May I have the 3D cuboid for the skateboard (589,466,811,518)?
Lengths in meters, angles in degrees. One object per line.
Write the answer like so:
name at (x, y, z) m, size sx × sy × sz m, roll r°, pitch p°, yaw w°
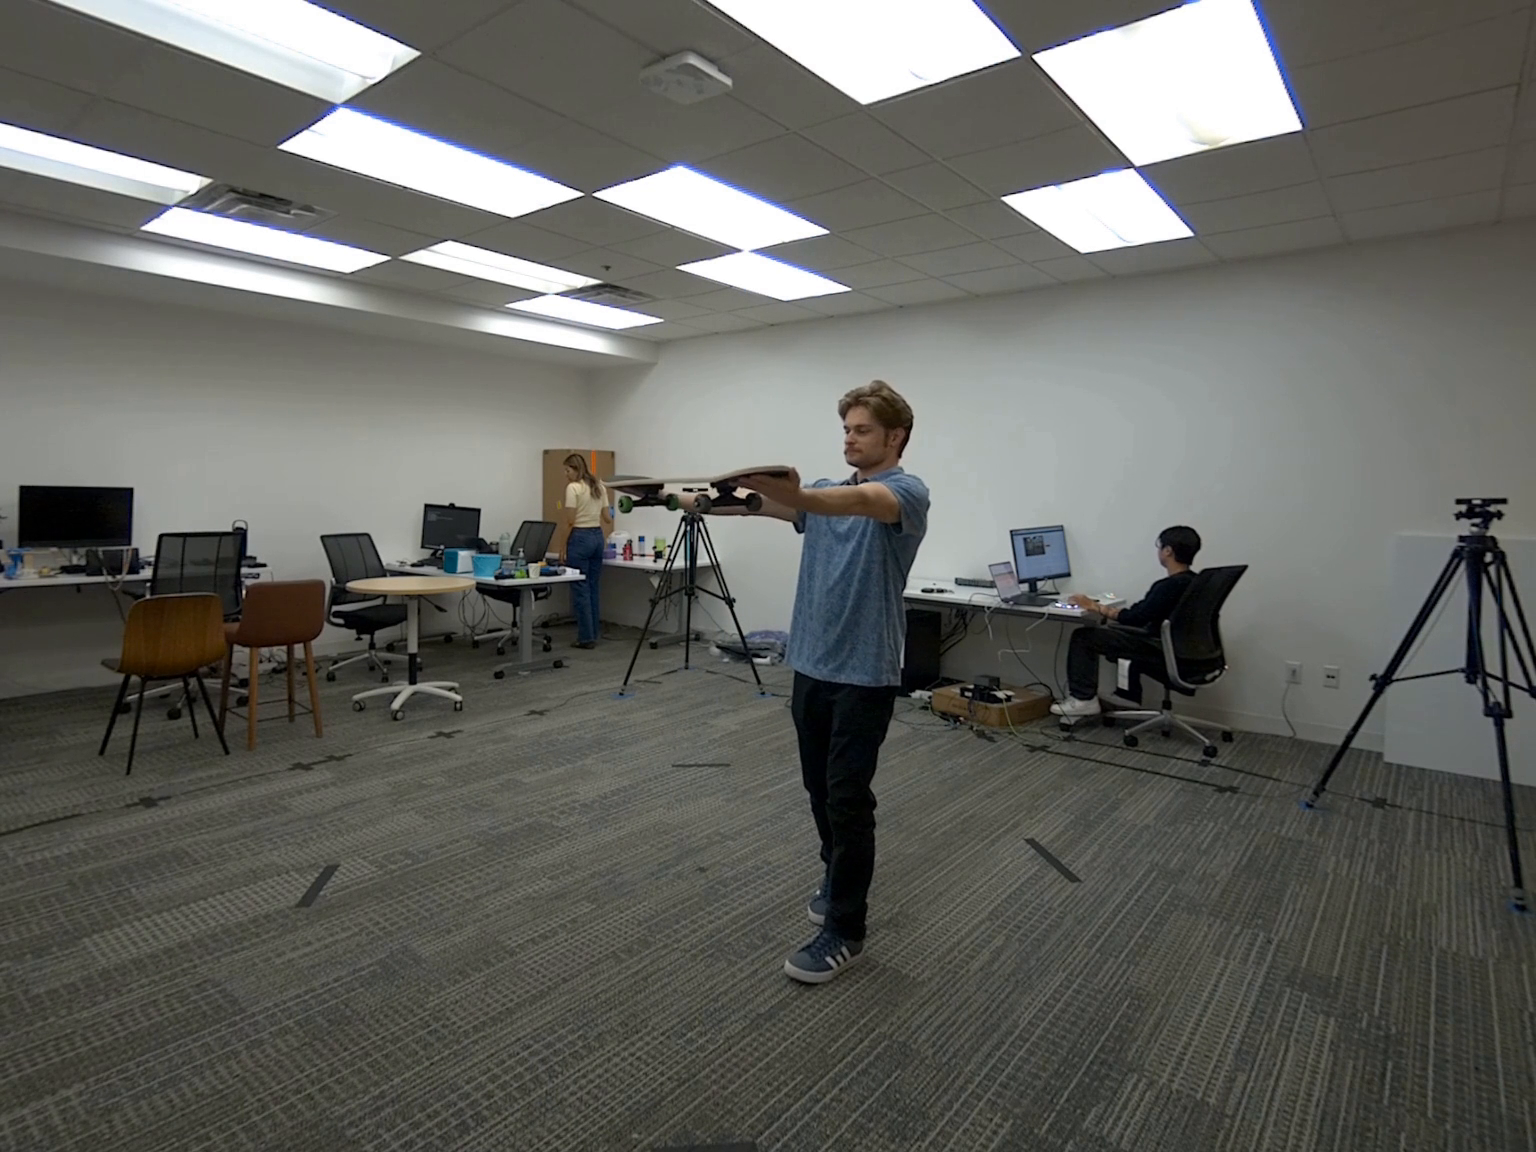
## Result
skateboard at (-0.217, -0.222, 2.263) m, size 0.188 × 0.110 × 0.811 m, roll -6°, pitch 7°, yaw -36°
